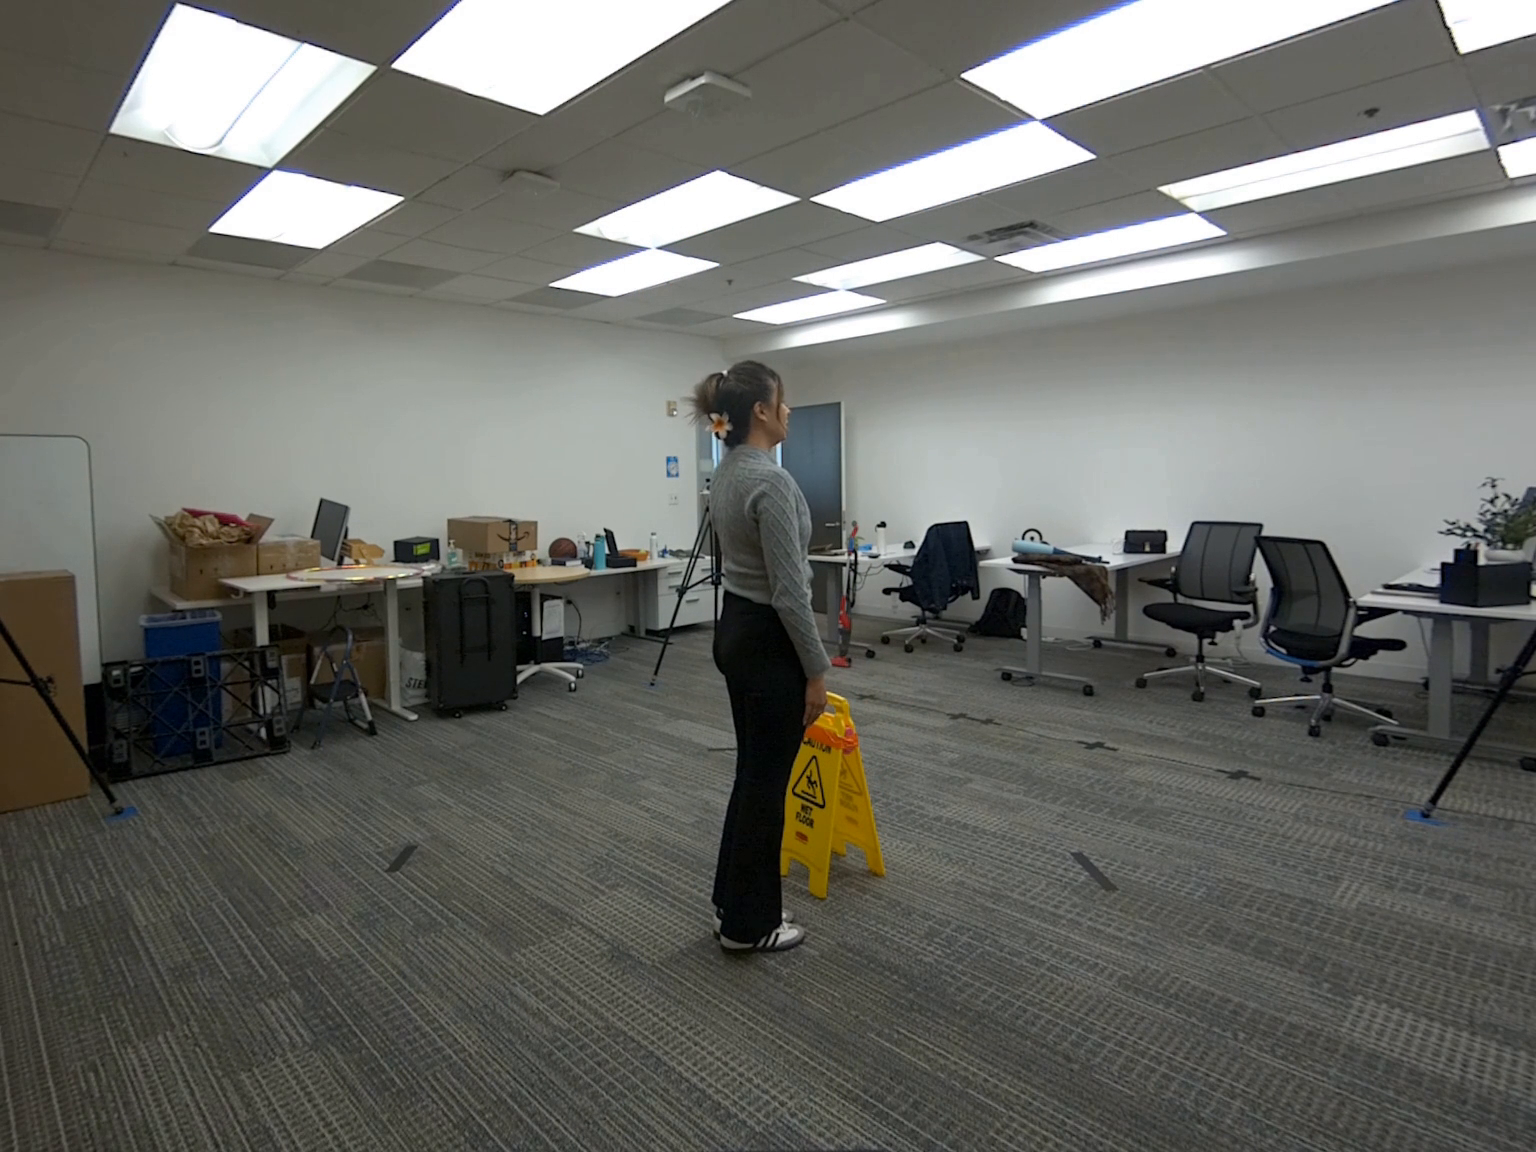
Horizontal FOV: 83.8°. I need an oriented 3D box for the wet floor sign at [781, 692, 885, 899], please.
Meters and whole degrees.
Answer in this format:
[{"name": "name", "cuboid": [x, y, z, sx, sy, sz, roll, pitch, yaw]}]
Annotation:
[{"name": "wet floor sign", "cuboid": [0.214, 0.728, 3.002, 0.282, 0.643, 0.291, -3, 6, -35]}]
